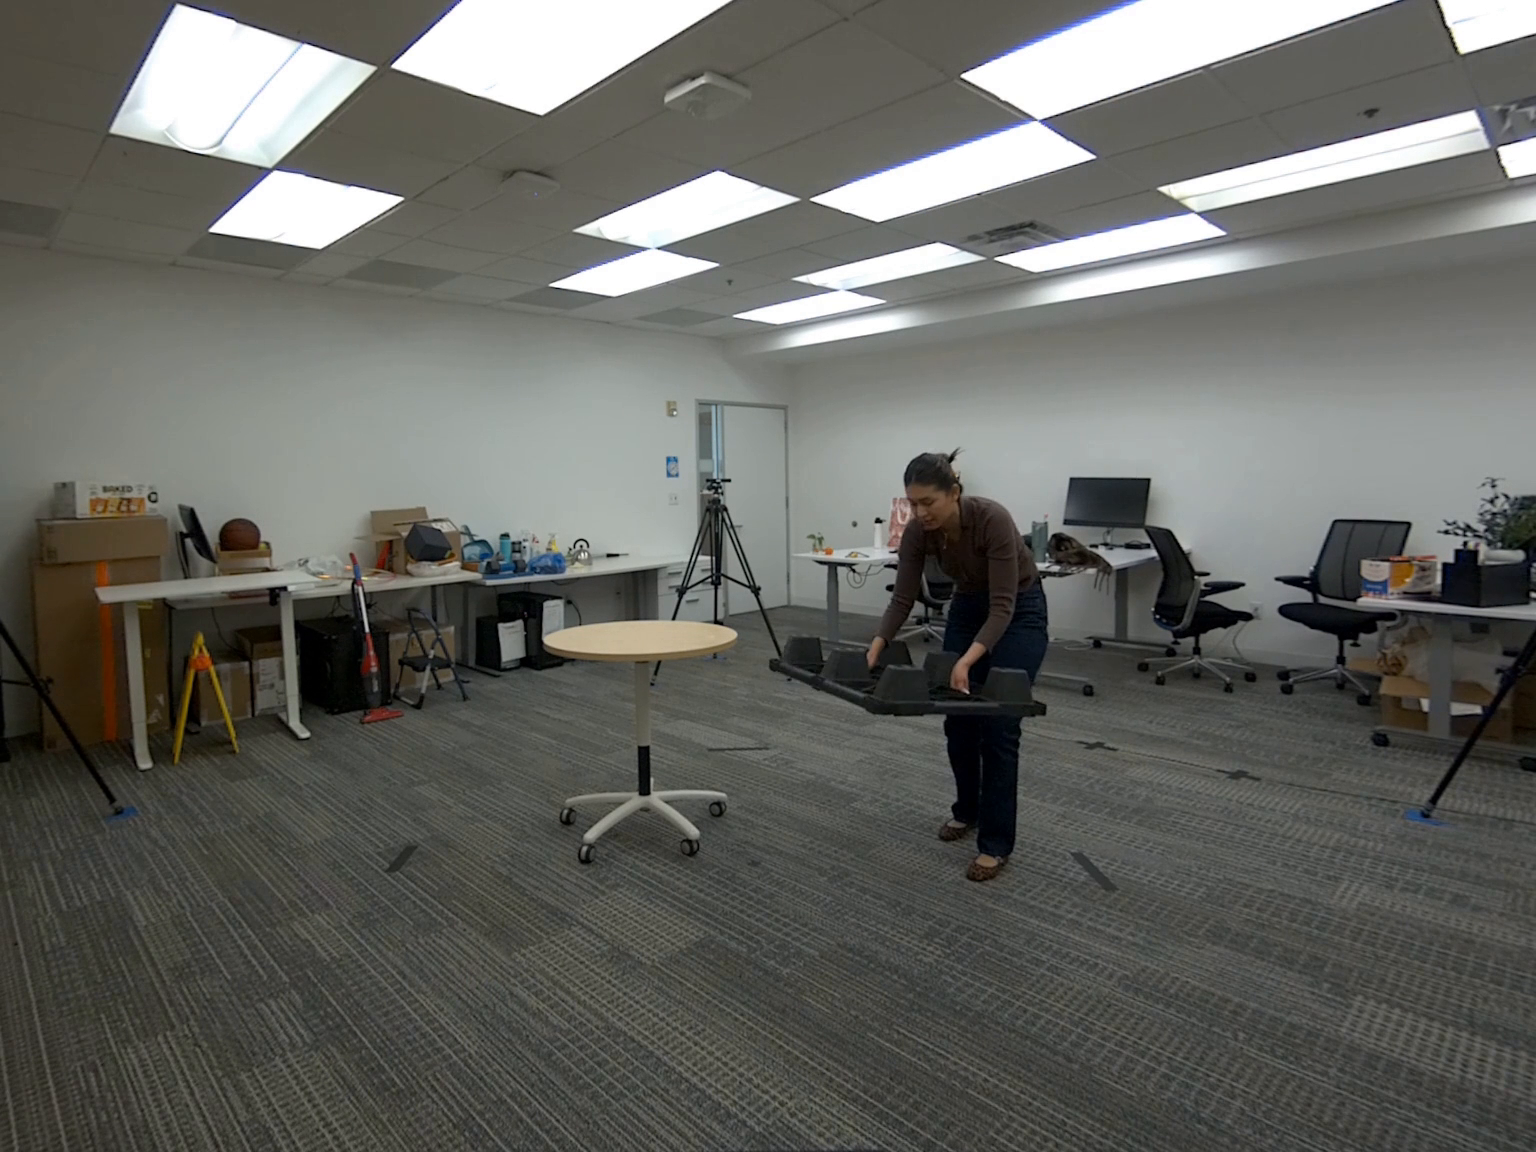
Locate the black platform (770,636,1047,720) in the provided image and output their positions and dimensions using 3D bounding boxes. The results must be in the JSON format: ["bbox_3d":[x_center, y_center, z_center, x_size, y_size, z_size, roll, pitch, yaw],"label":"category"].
[{"bbox_3d":[0.441,0.327,2.879,0.592,0.143,0.823,4,2,-23],"label":"black platform"}]
